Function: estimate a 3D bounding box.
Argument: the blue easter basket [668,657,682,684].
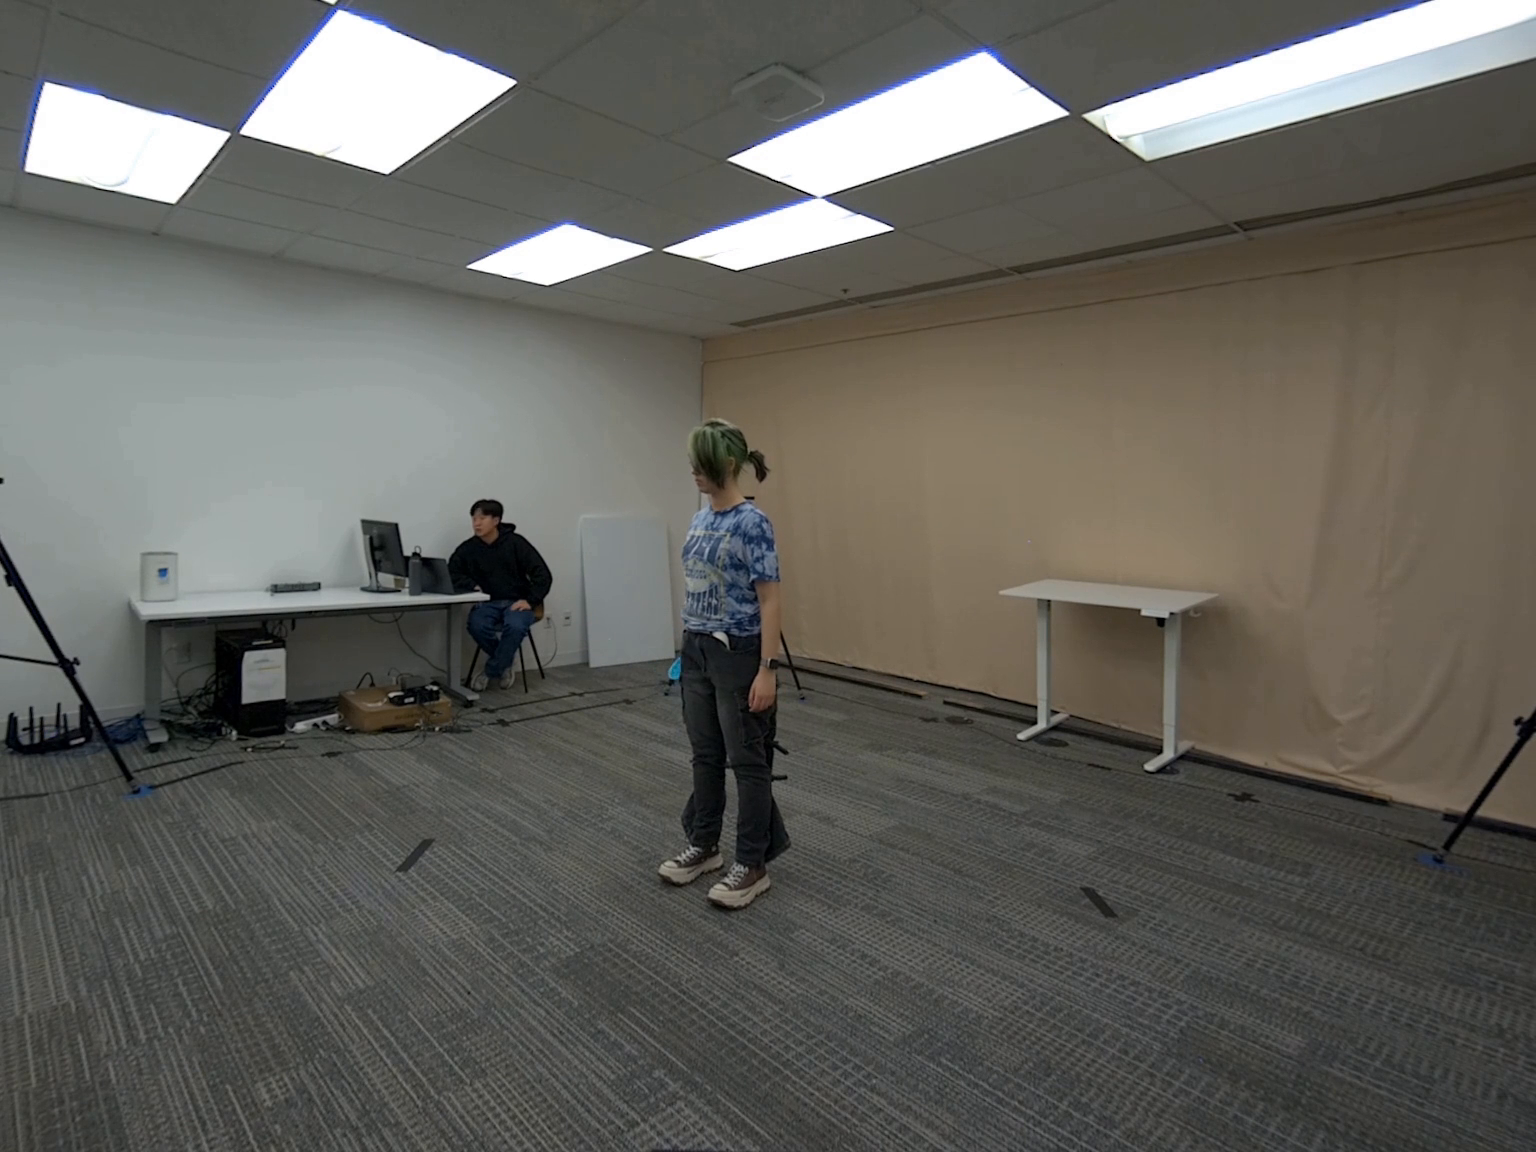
[{"bbox_3d":[-0.288,0.391,3.434,0.244,0.153,0.246,-29,15,7],"label":"blue easter basket"}]
